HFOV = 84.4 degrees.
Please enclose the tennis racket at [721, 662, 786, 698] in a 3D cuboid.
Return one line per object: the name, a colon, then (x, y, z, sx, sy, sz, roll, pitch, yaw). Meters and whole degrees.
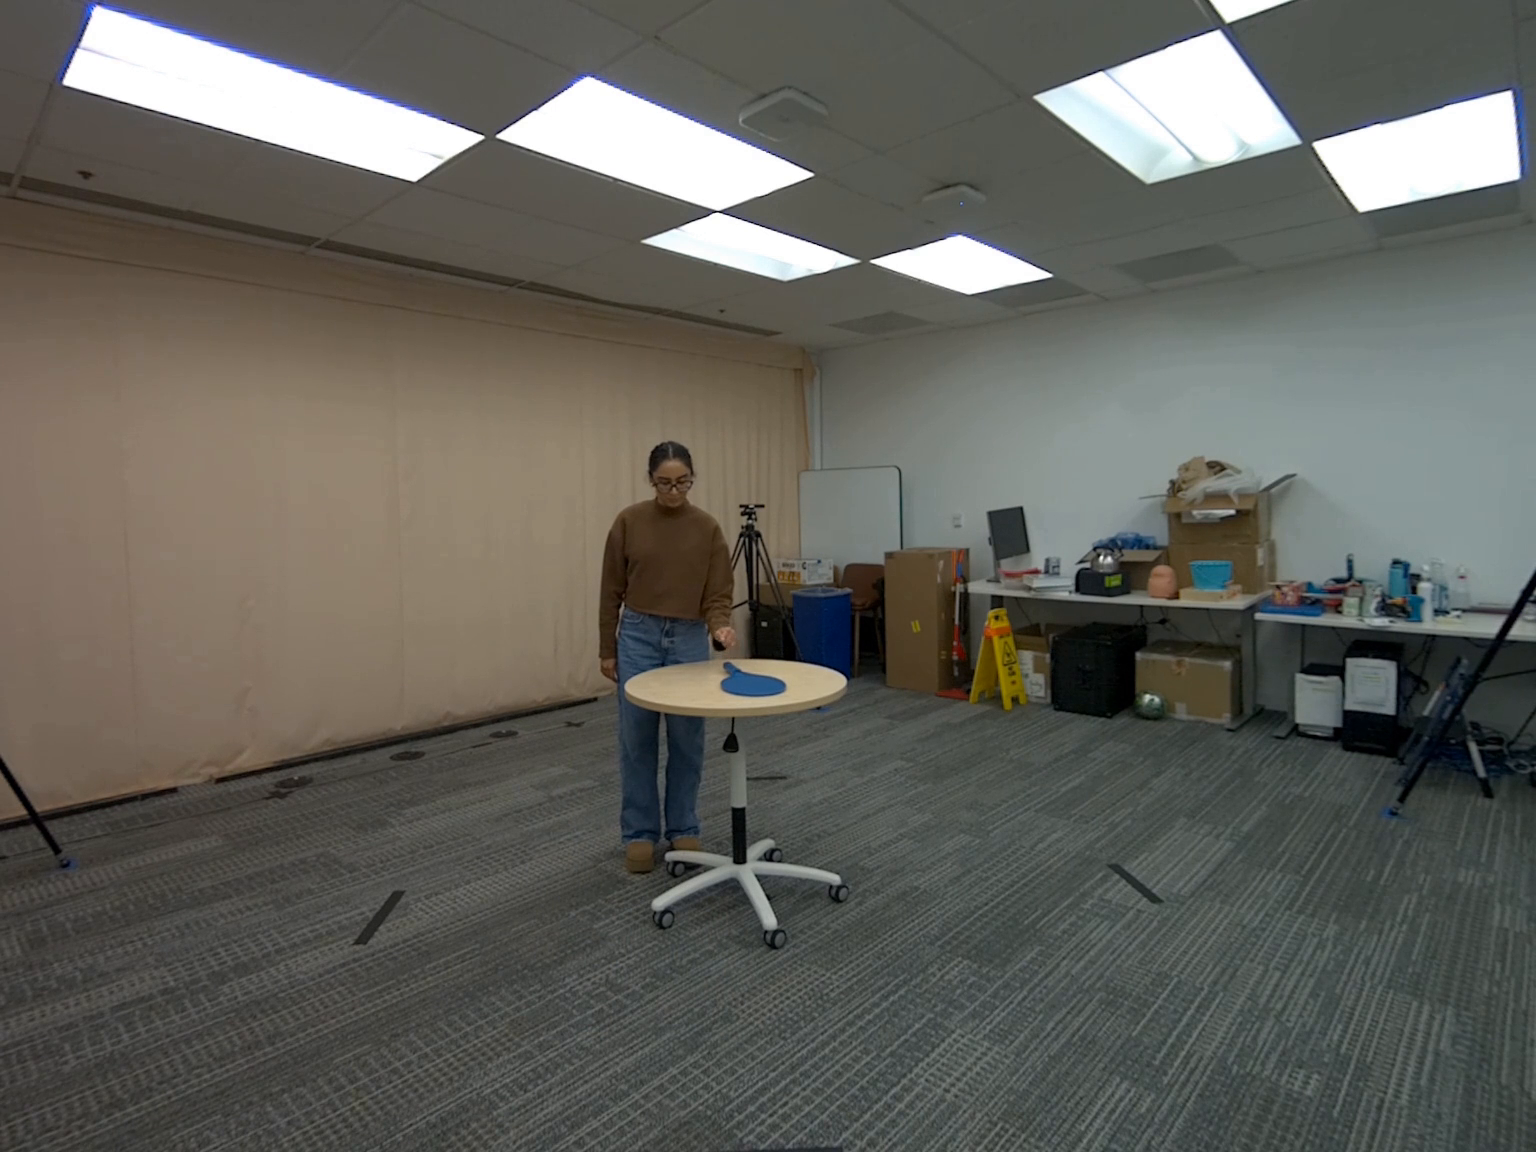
tennis racket: (-0.066, 0.360, 2.878, 0.211, 0.031, 0.441, -4, 7, -15)
